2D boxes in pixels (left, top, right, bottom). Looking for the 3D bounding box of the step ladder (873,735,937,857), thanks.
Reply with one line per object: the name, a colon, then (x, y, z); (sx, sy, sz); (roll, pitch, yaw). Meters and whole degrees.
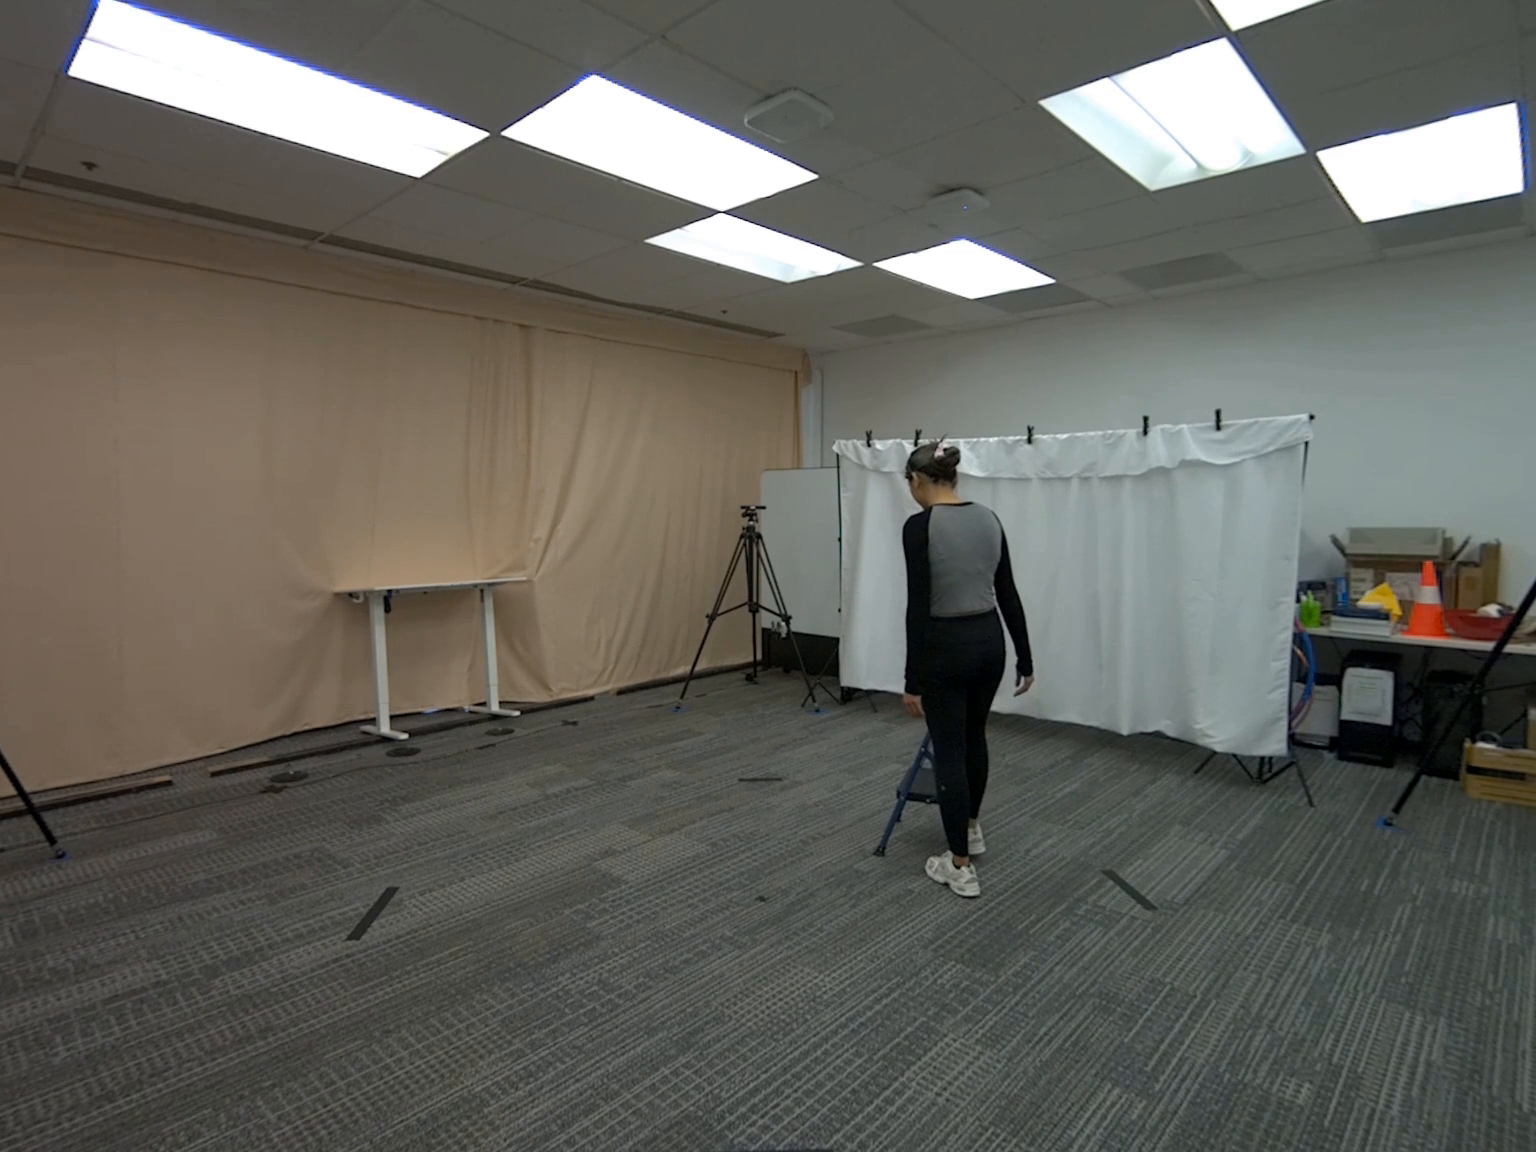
step ladder: (0.653, 0.807, 3.474); (0.356, 0.605, 0.422); (1, 2, 19)
